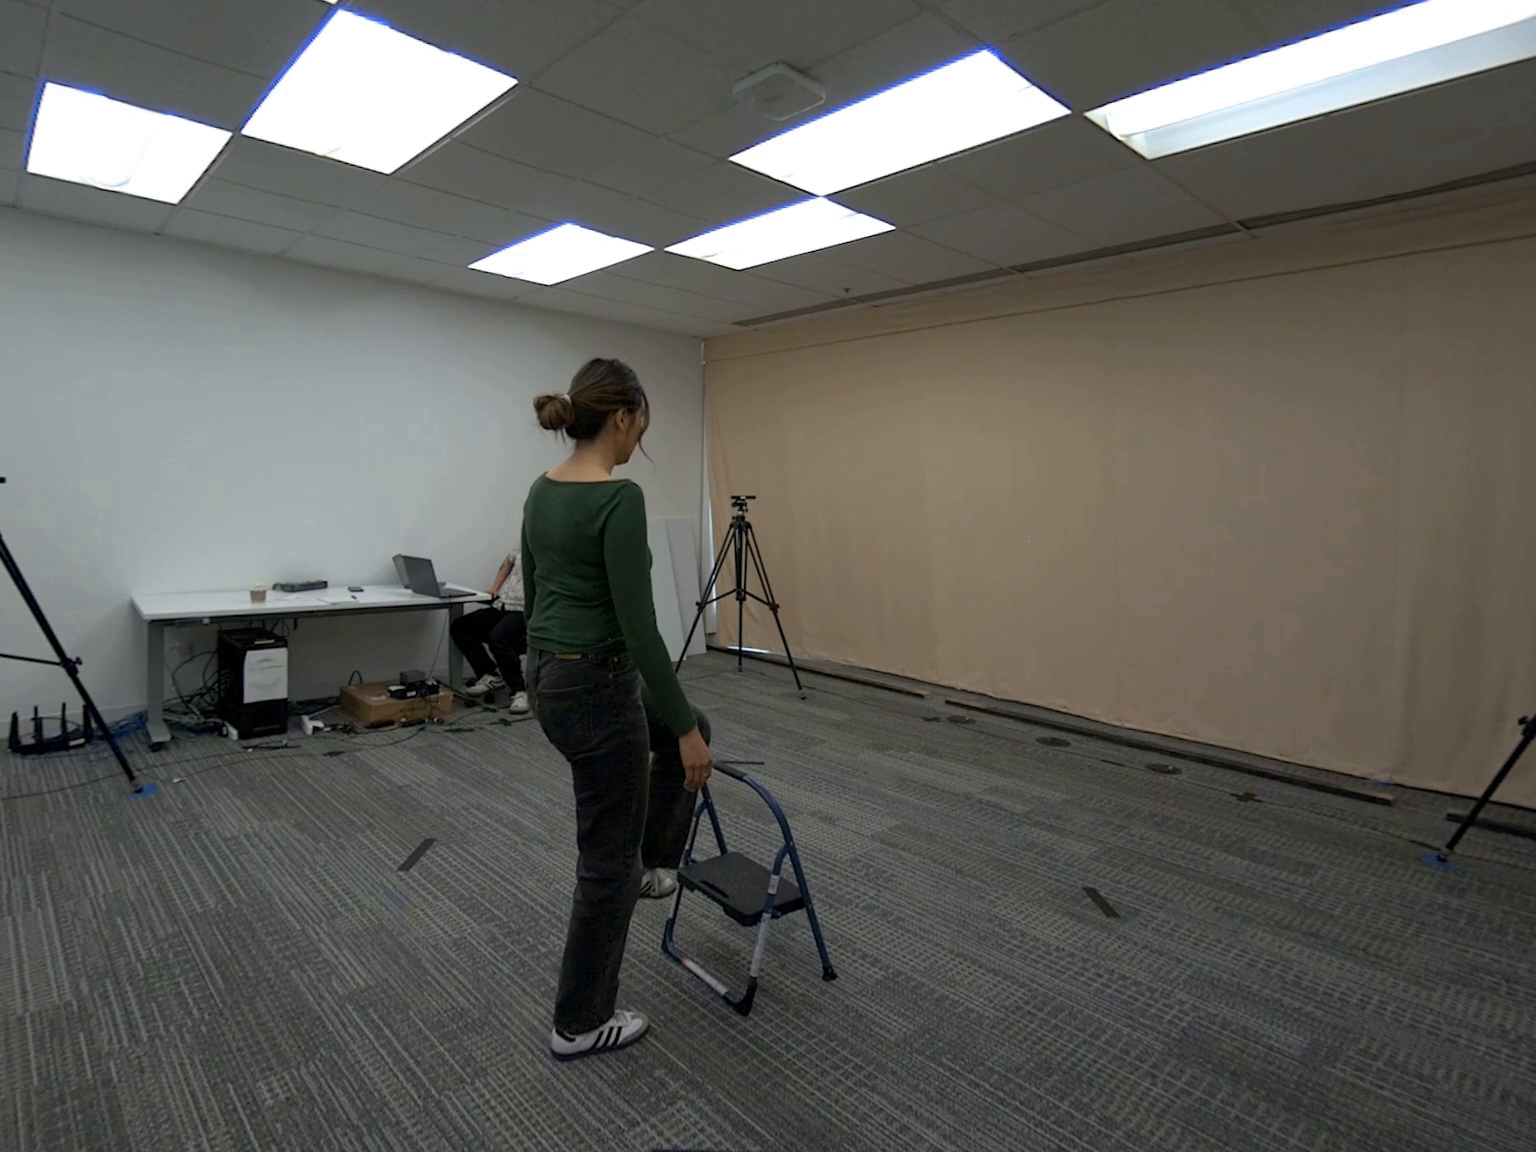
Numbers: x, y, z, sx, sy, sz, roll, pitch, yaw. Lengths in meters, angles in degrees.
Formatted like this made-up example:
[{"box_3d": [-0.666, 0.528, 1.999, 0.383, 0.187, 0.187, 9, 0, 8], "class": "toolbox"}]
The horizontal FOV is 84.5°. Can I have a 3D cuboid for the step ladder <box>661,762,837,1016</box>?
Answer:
[{"box_3d": [-0.063, 0.857, 2.496, 0.341, 0.604, 0.441, -2, 5, -40], "class": "step ladder"}]
